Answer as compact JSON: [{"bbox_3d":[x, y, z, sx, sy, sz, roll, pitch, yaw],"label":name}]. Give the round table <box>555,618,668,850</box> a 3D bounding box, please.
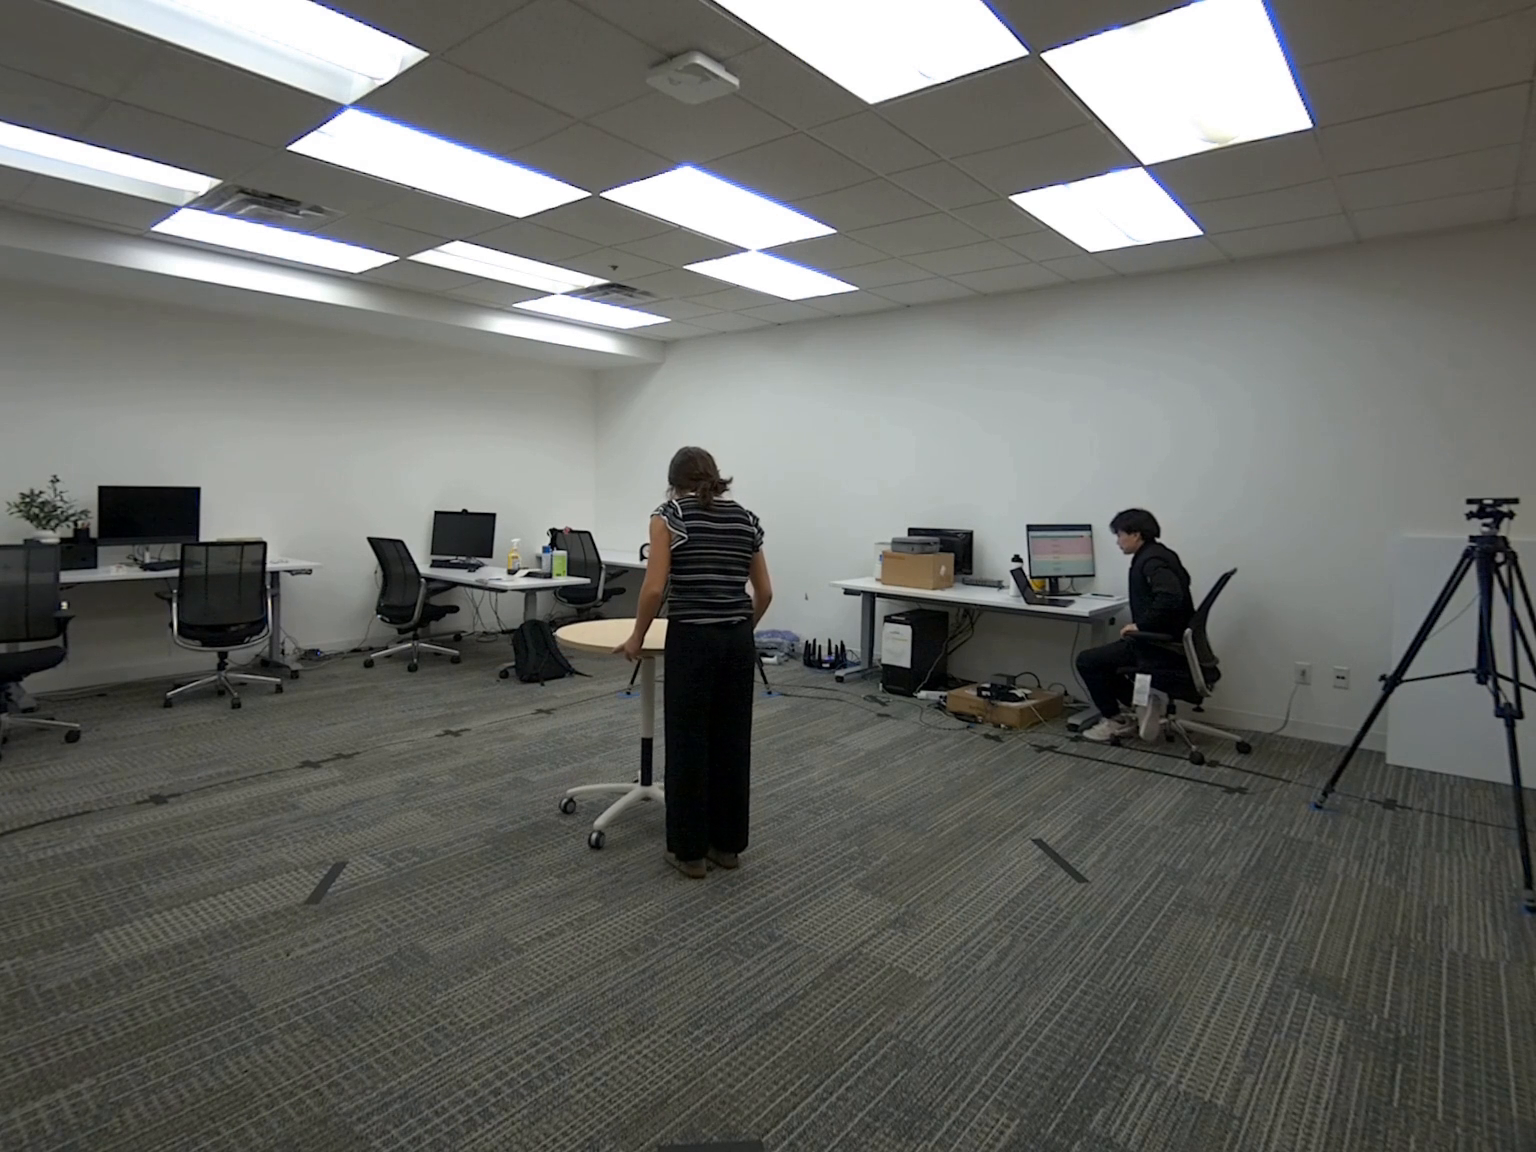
[{"bbox_3d":[-0.519,0.623,3.552,0.784,0.784,0.789,1,4,-2],"label":"round table"}]
